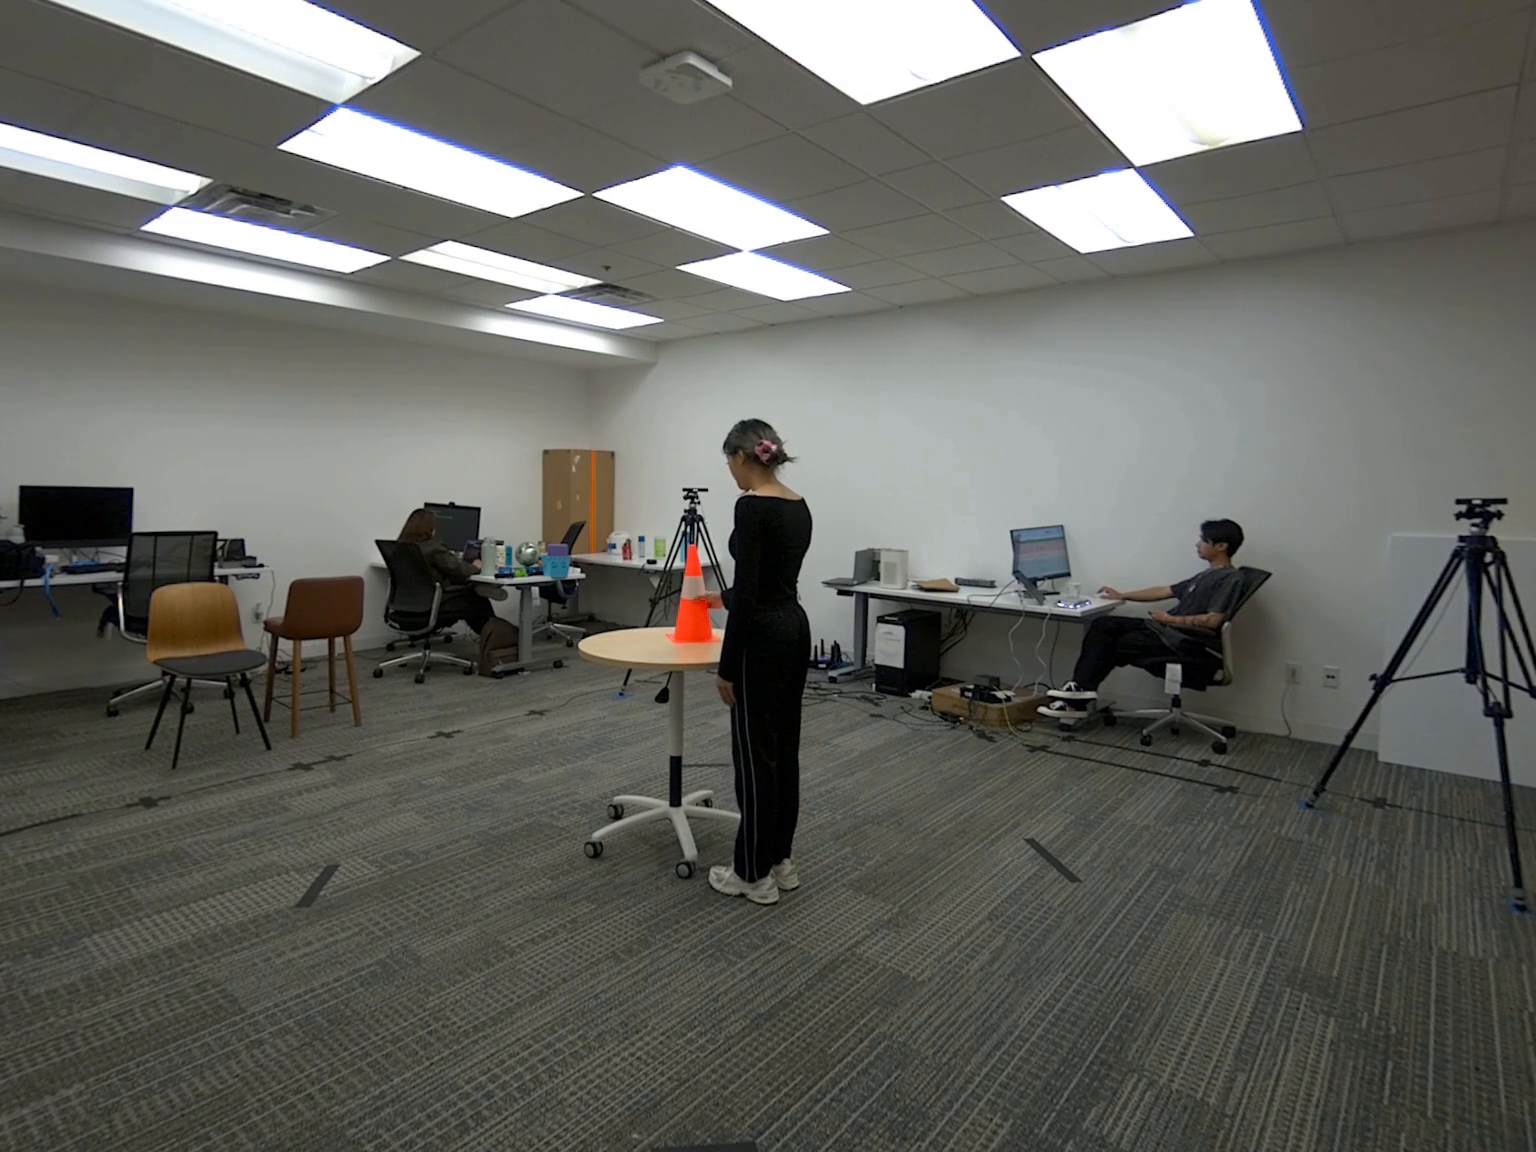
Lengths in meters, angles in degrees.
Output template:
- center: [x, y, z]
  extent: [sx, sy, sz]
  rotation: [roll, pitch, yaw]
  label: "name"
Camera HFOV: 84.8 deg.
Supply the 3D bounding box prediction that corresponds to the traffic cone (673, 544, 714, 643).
- center: [-0.319, 0.063, 3.434]
  extent: [0.202, 0.382, 0.207]
  rotation: [-2, 4, -17]
  label: "traffic cone"
